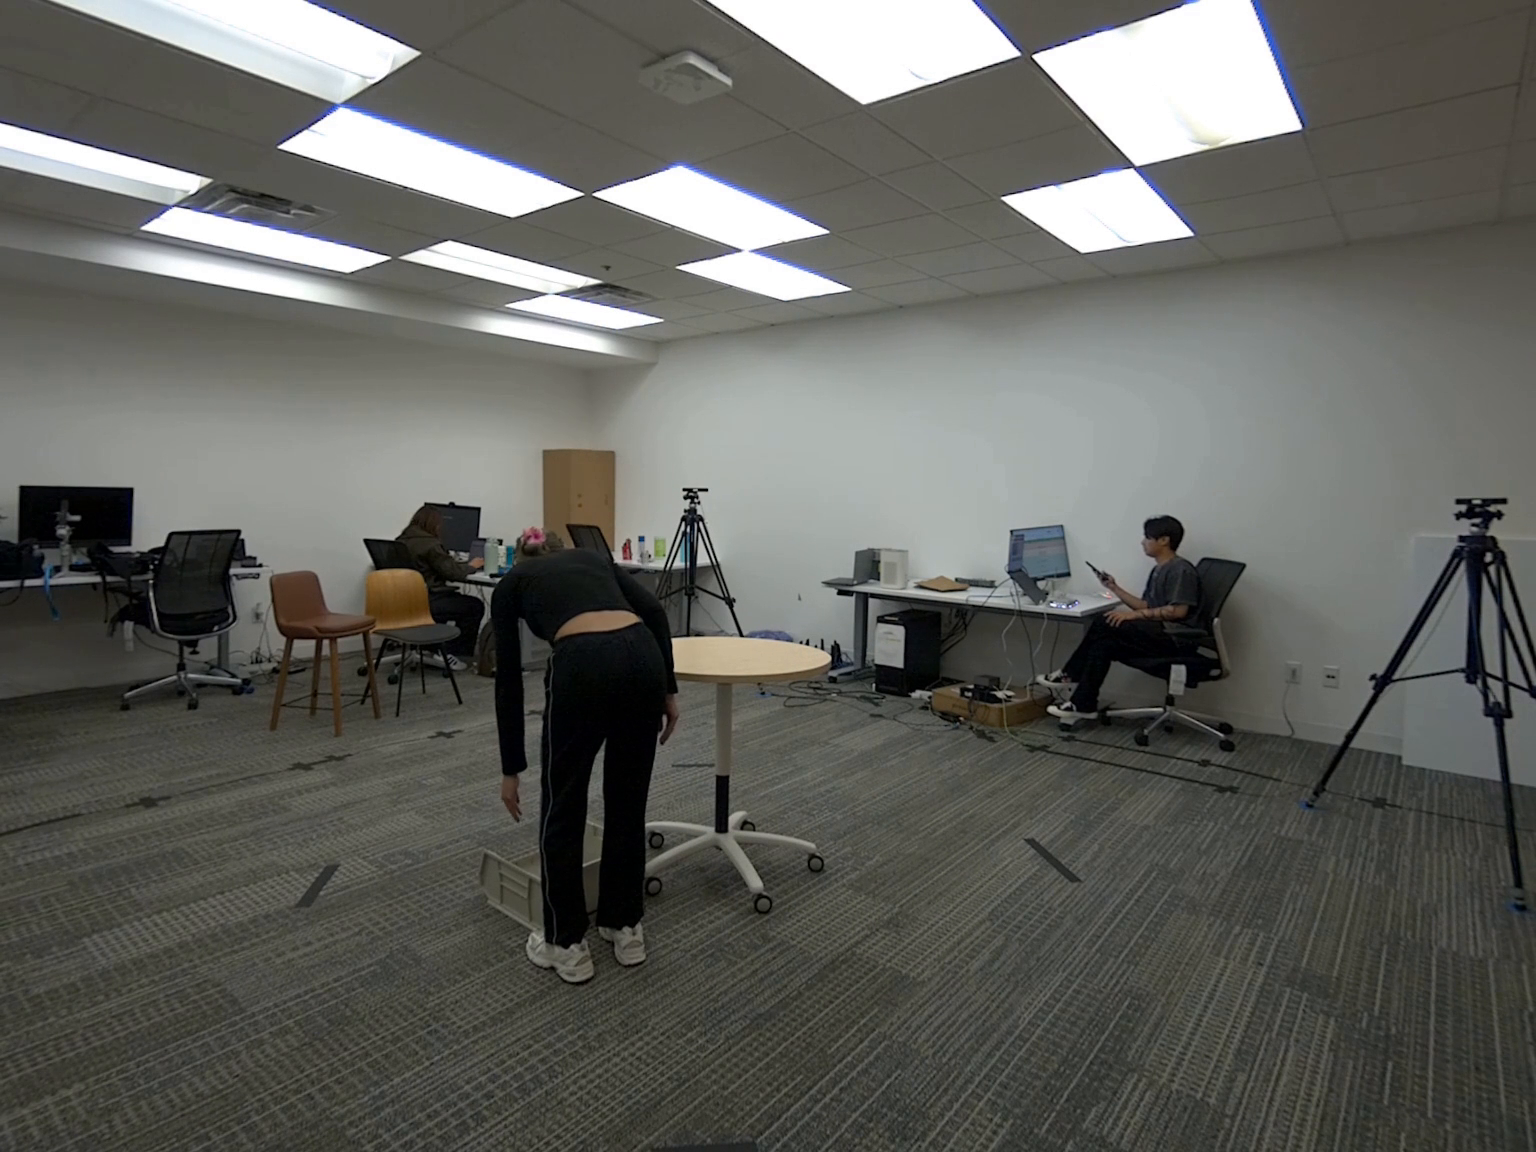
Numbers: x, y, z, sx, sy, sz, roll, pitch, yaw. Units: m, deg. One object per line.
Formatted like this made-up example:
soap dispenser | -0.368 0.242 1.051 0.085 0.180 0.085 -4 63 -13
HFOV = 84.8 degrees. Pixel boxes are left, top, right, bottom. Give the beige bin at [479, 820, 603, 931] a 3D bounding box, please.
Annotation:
beige bin | -0.708 0.998 2.882 0.390 0.188 0.410 6 7 41
